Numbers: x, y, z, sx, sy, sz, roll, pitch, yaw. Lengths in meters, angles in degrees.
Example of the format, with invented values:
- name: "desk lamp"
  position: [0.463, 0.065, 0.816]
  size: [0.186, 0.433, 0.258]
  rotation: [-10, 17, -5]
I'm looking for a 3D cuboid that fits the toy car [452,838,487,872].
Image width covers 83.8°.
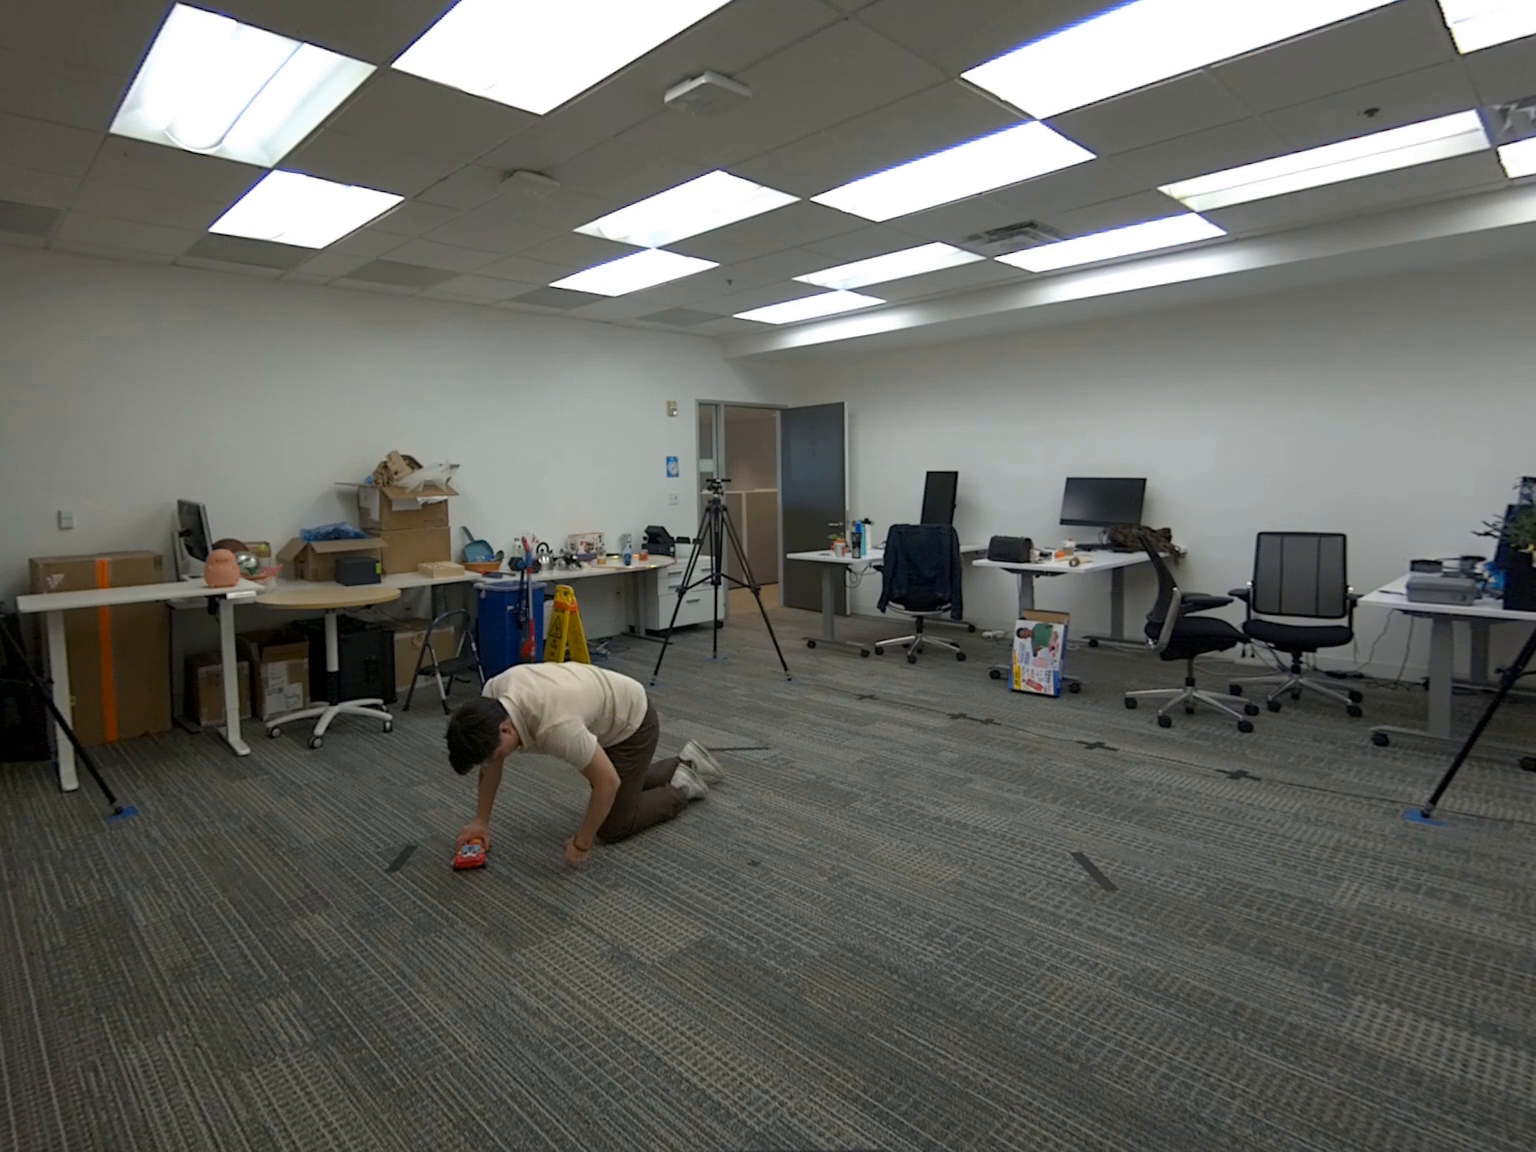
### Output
- name: "toy car"
  position: [-1.110, 1.028, 3.204]
  size: [0.129, 0.082, 0.261]
  rotation: [-3, 16, -13]
